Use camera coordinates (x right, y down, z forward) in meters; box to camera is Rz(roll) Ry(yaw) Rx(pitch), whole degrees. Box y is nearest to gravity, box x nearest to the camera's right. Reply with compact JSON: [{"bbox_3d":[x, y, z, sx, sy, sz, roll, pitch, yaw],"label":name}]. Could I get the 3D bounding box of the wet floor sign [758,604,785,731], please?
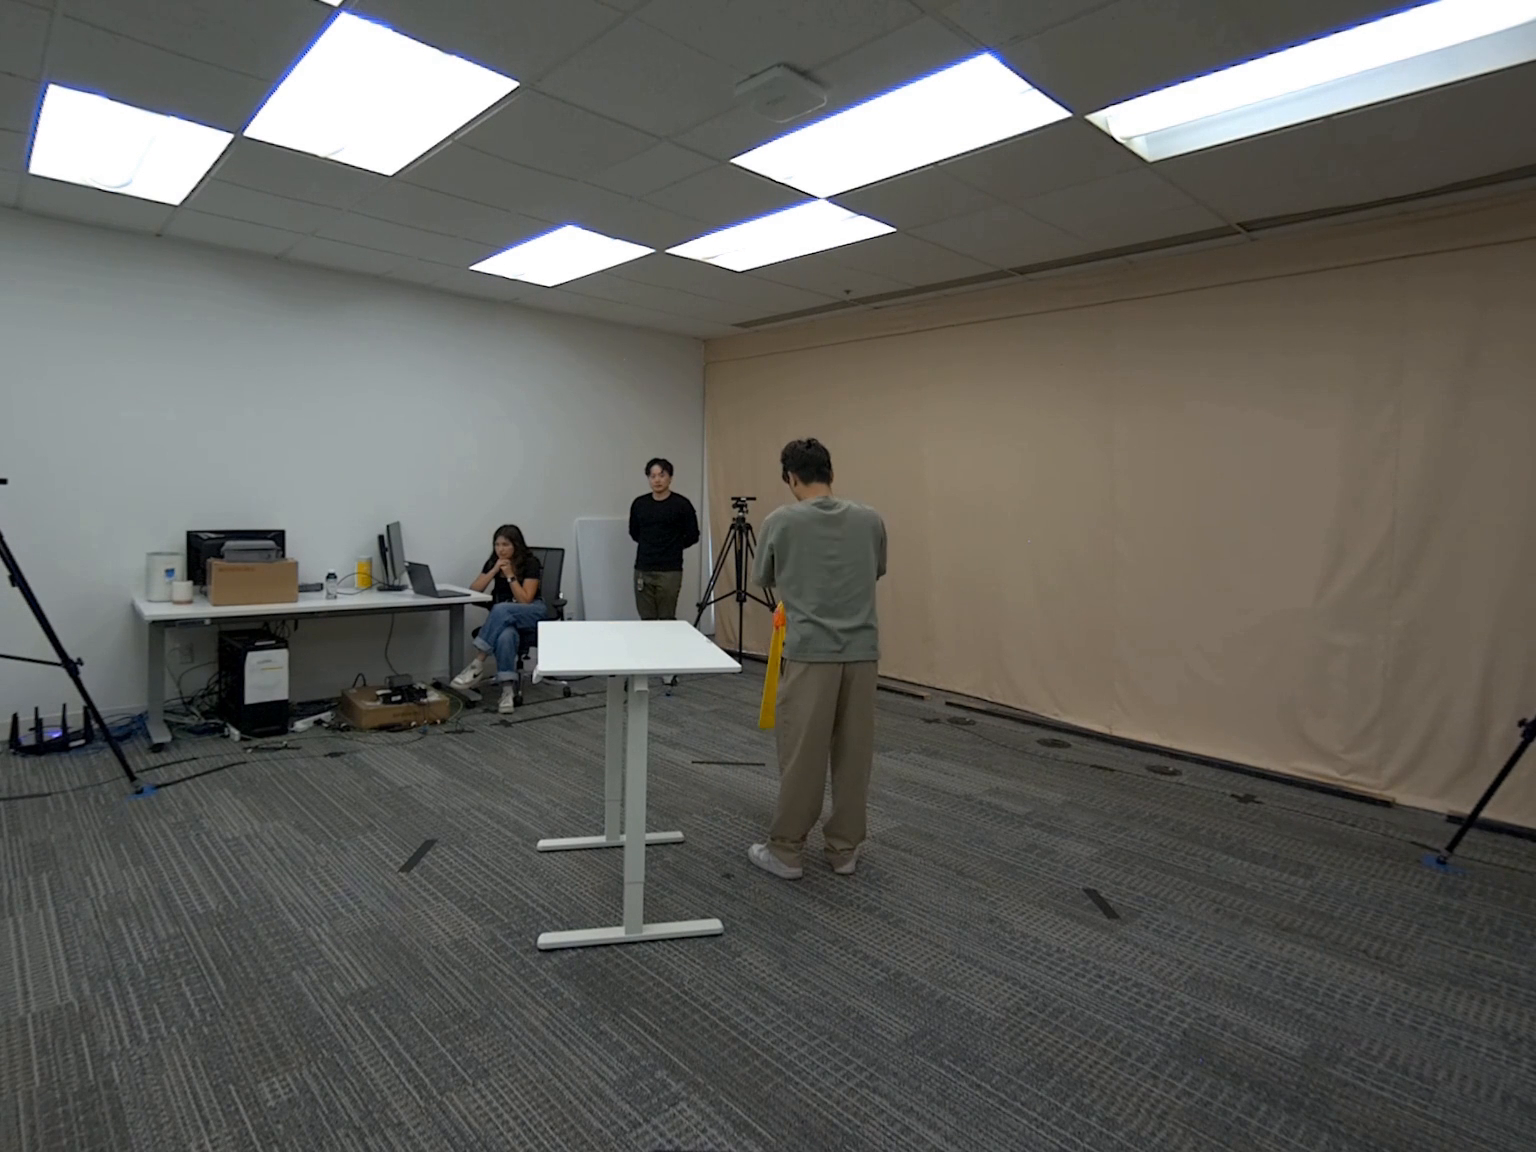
[{"bbox_3d":[0.137,0.365,3.610,0.278,0.644,0.294,1,4,-17],"label":"wet floor sign"}]
